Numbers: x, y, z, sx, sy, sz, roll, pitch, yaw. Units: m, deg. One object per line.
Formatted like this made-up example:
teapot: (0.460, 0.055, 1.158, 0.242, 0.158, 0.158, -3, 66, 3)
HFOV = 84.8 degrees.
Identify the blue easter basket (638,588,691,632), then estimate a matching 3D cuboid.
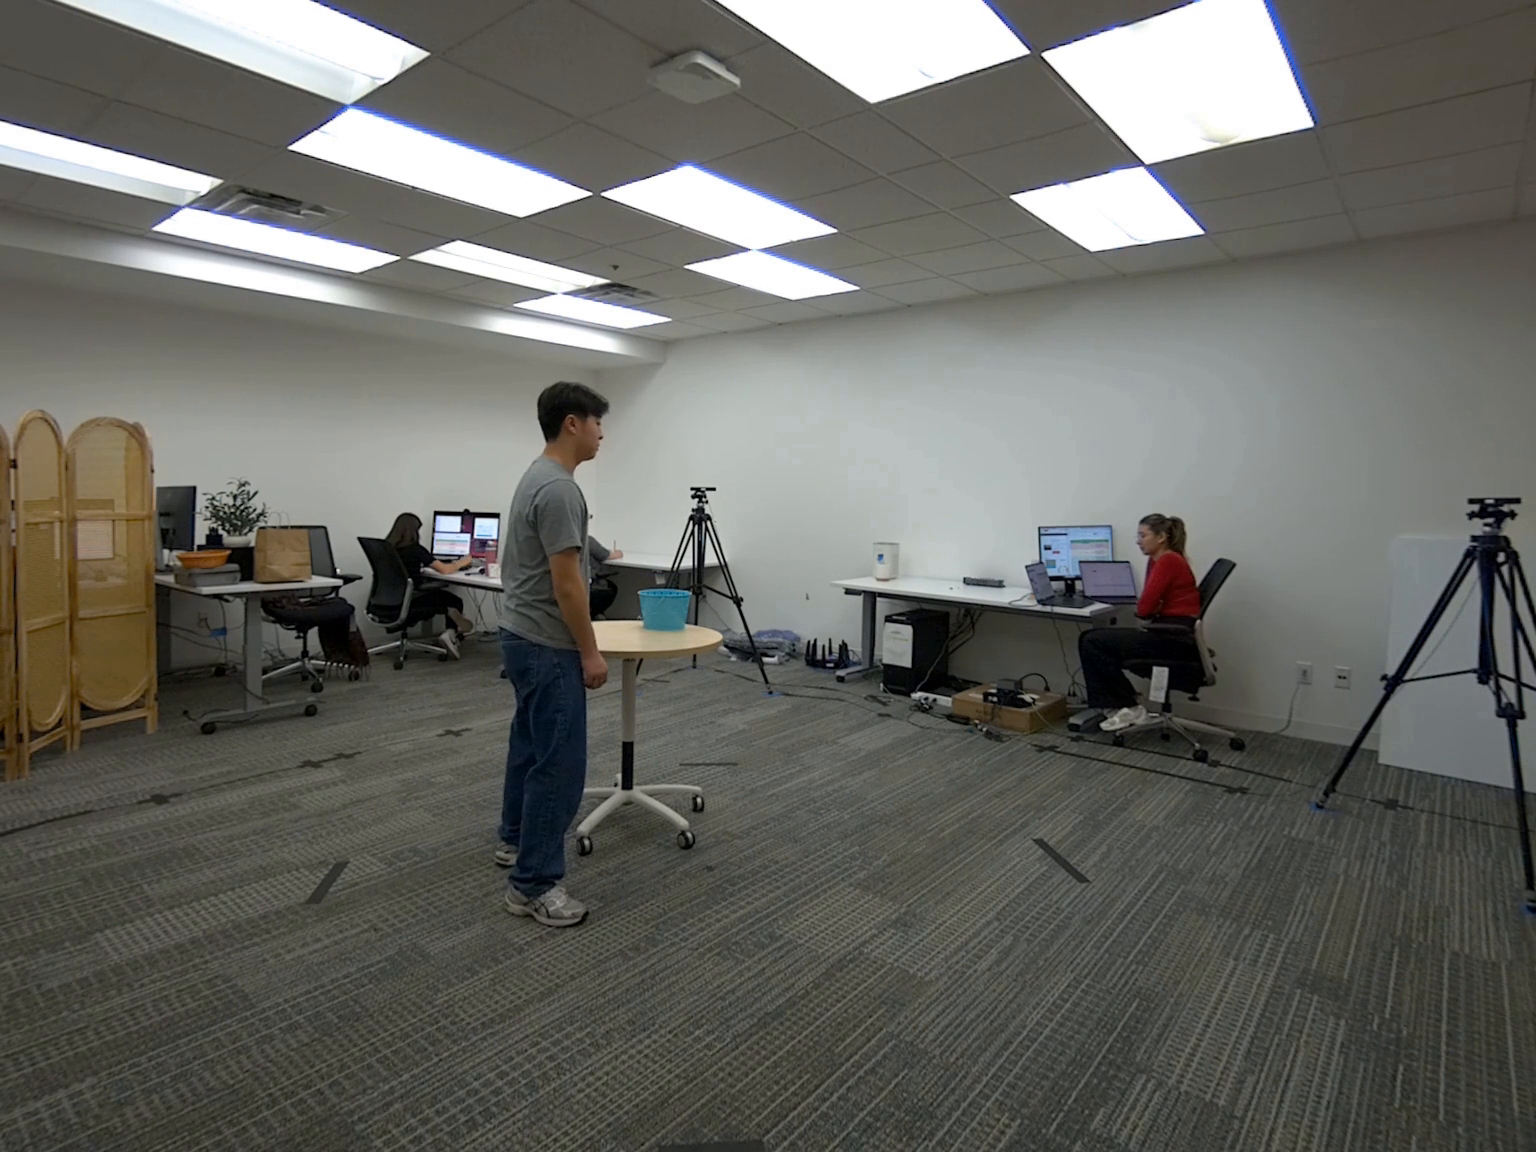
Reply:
blue easter basket: (-0.474, 0.149, 3.722, 0.243, 0.155, 0.244, 1, 4, -2)
